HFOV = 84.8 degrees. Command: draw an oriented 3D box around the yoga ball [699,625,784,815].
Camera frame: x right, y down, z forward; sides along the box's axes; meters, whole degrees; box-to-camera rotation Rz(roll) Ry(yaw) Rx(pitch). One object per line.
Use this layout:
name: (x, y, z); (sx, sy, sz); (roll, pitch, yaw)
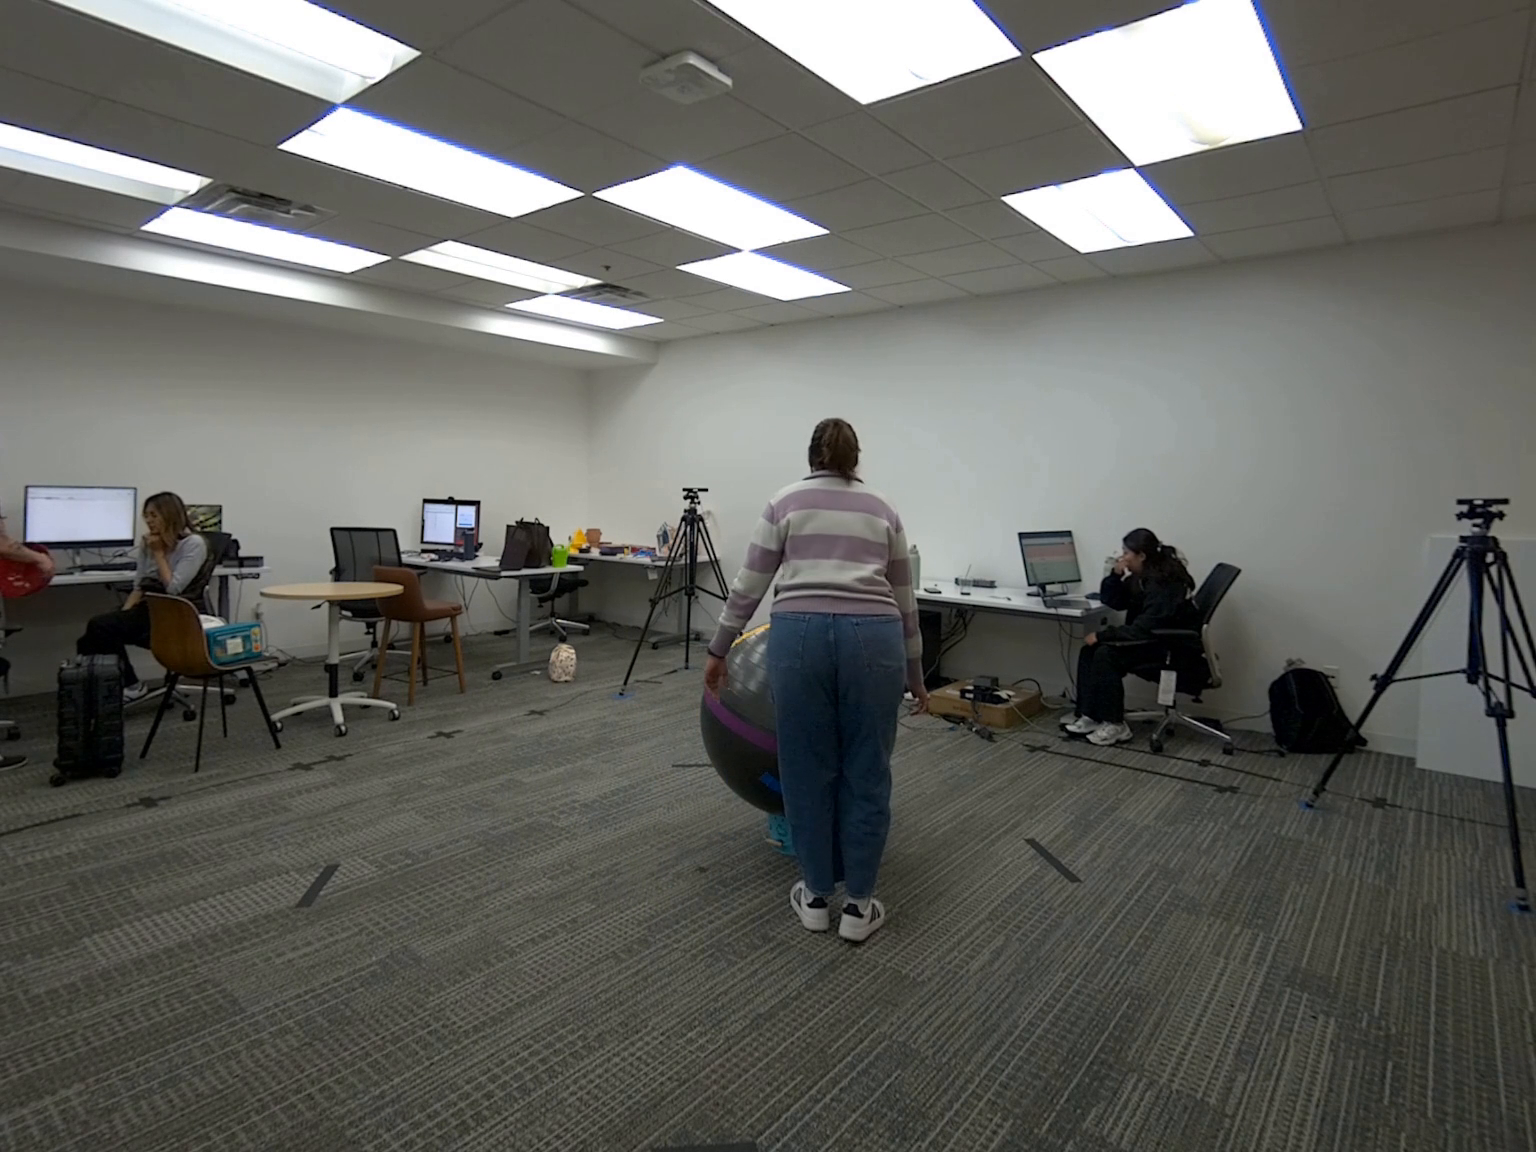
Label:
yoga ball: (0.112, 0.547, 3.317); (0.757, 0.756, 0.762); (1, 4, -2)
